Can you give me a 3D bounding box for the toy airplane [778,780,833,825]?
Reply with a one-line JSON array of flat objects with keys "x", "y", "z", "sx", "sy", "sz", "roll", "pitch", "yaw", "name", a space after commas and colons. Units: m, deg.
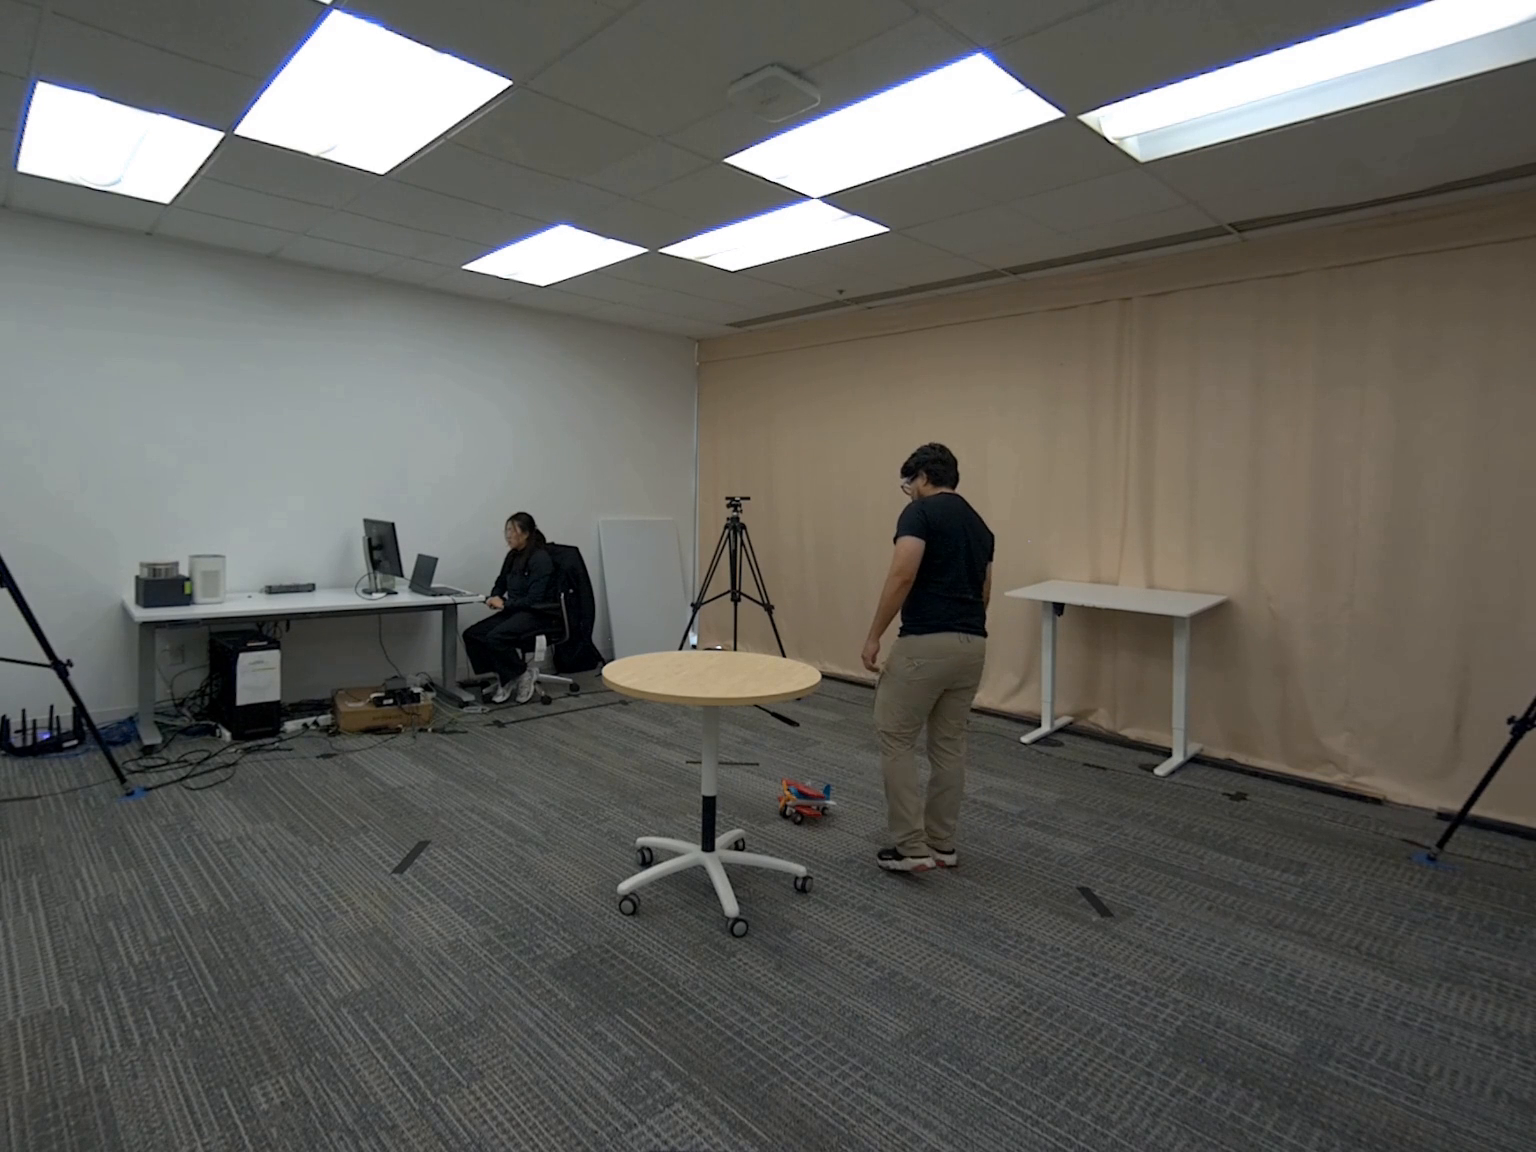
[{"x": 0.150, "y": 0.984, "z": 3.719, "sx": 0.256, "sy": 0.156, "sz": 0.255, "roll": 3, "pitch": 6, "yaw": 27, "name": "toy airplane"}]
